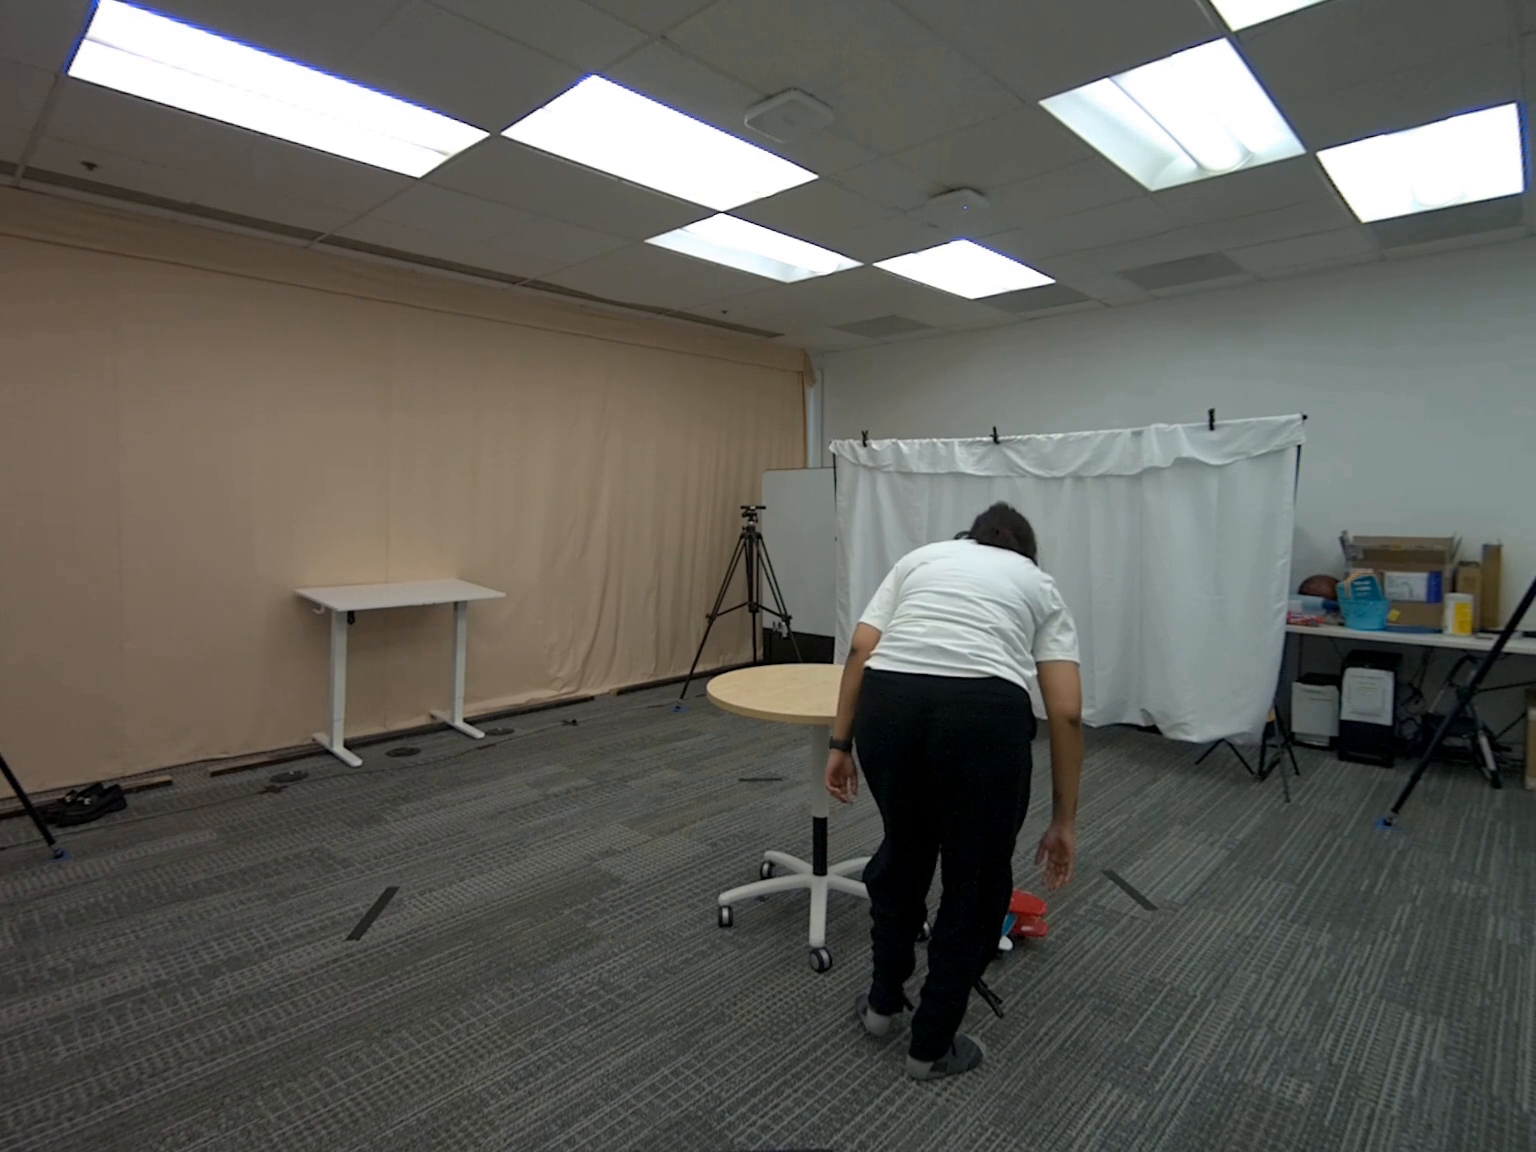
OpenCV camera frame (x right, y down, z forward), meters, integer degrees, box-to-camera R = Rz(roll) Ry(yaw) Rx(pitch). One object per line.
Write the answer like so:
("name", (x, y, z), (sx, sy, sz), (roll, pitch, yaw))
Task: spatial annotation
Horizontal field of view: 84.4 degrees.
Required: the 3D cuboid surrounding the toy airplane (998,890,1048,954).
("toy airplane", (0.768, 1.092, 2.657), (0.253, 0.156, 0.258), (1, 4, 5))
